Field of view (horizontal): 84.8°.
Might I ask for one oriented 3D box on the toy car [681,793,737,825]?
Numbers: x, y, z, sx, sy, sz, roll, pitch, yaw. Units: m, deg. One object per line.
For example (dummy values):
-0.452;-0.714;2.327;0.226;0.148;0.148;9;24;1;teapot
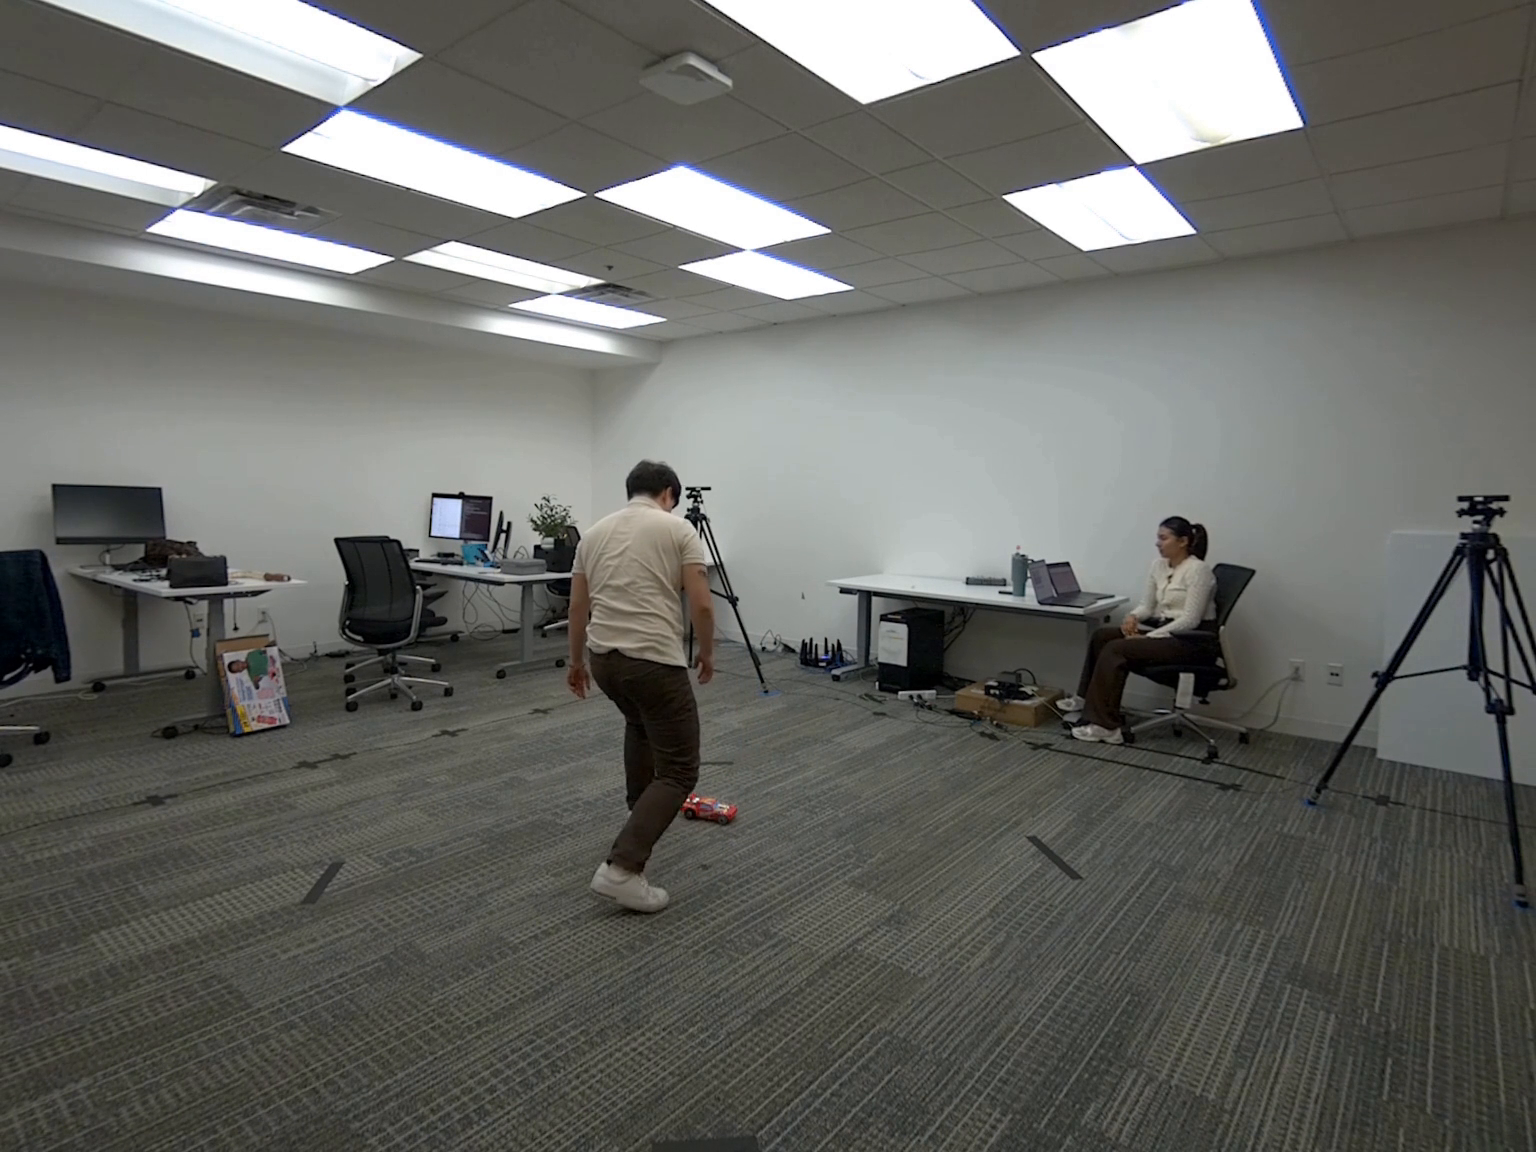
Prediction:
-0.272;0.985;3.598;0.261;0.083;0.128;14;9;19;toy car
